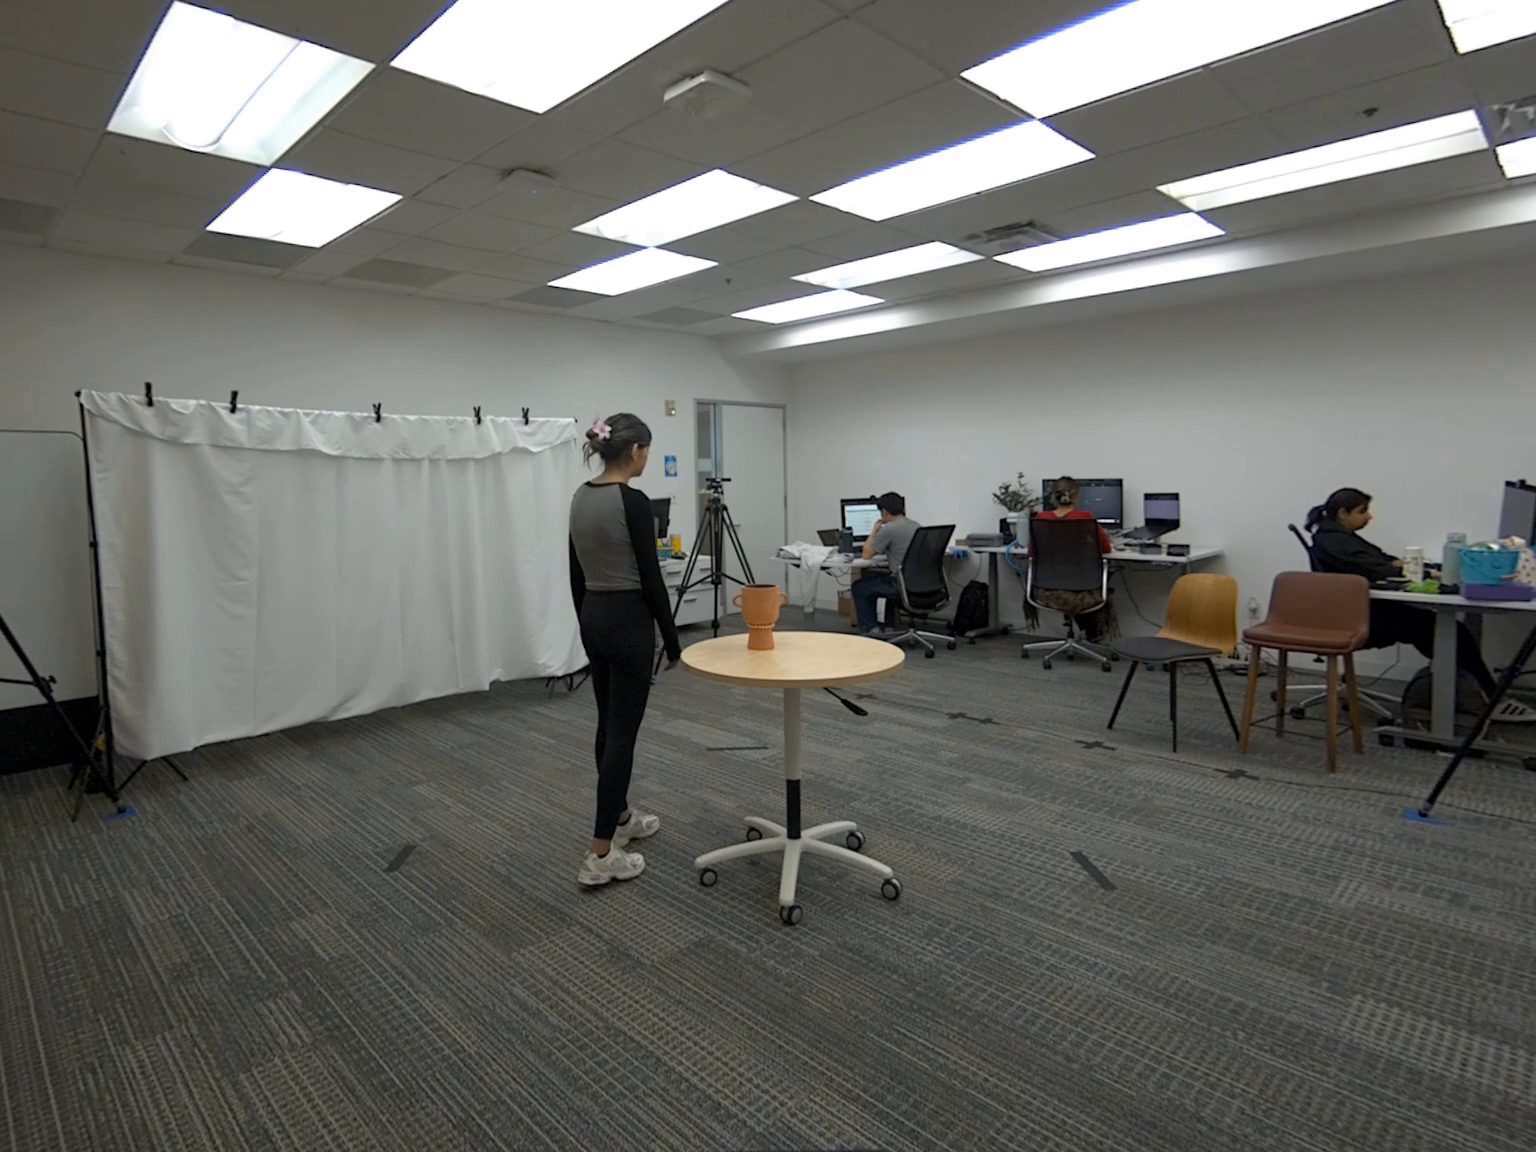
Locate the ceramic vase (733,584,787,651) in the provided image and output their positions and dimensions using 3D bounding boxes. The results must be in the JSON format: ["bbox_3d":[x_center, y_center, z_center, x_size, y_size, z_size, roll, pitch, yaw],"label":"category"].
[{"bbox_3d":[-0.030,0.143,3.037,0.163,0.219,0.131,2,4,31],"label":"ceramic vase"}]
